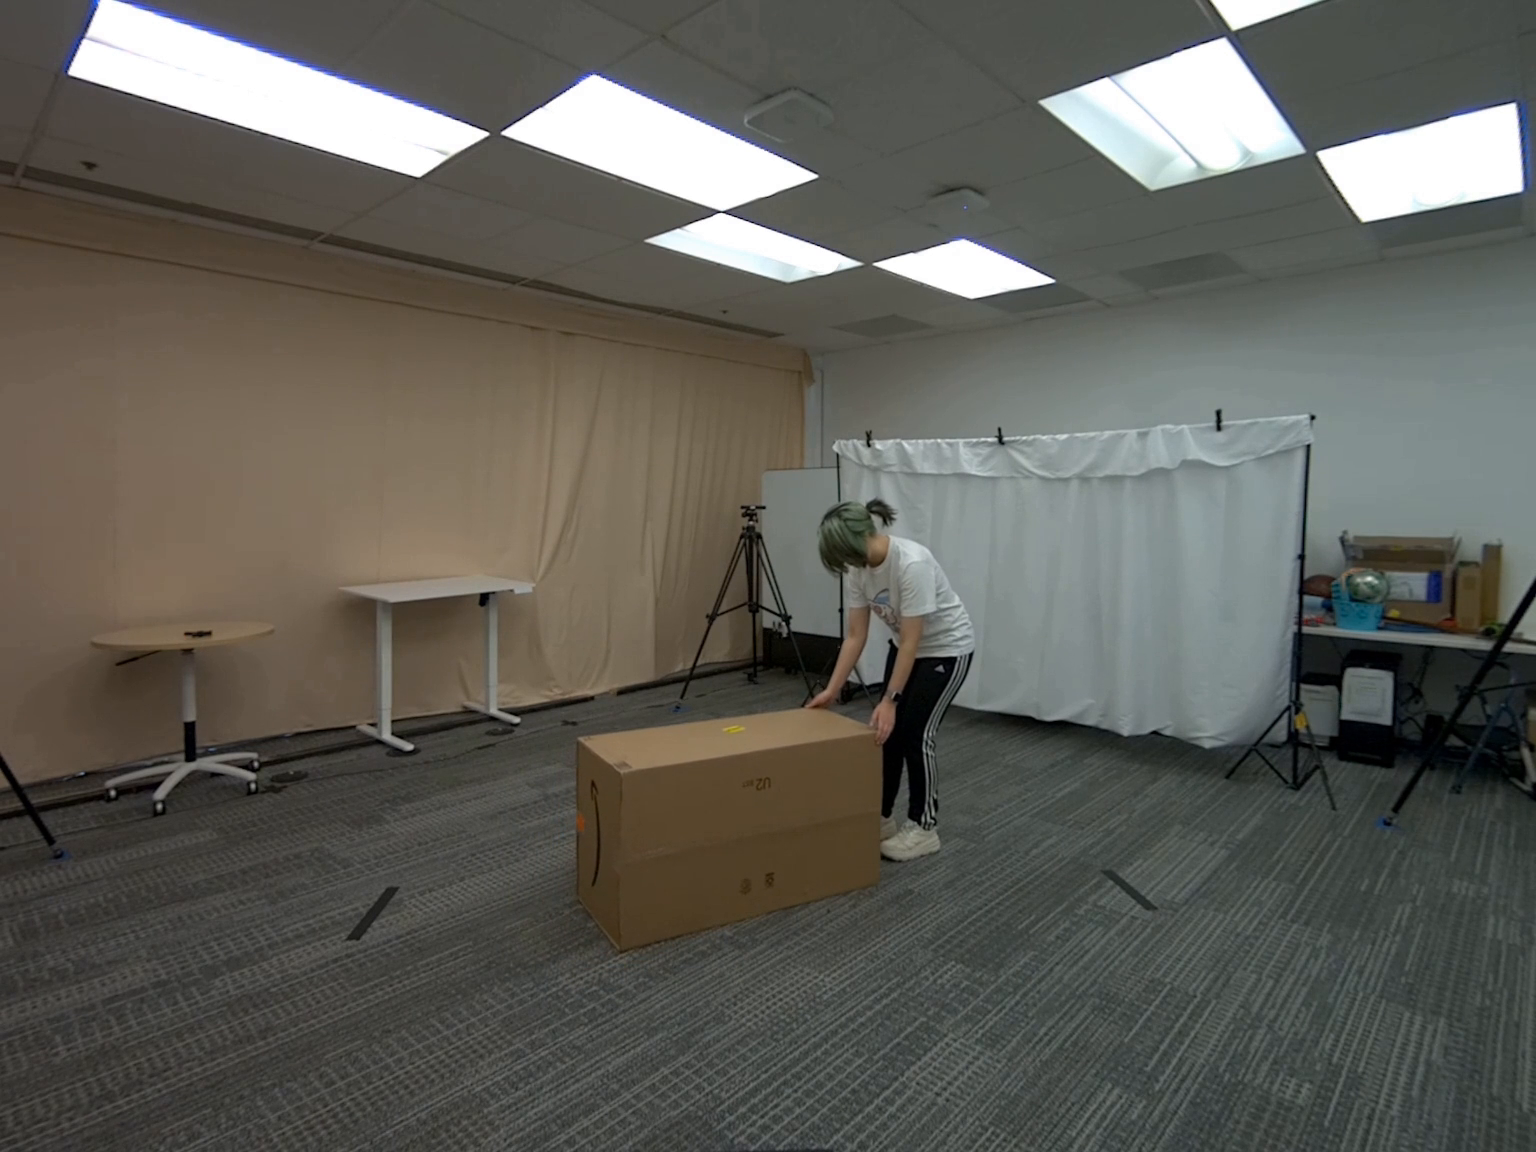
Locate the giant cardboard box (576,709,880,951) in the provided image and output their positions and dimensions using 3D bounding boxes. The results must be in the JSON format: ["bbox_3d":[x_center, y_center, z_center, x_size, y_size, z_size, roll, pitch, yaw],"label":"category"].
[{"bbox_3d":[-0.133,0.854,3.024,1.000,0.583,0.459,-2,3,-29],"label":"giant cardboard box"}]
